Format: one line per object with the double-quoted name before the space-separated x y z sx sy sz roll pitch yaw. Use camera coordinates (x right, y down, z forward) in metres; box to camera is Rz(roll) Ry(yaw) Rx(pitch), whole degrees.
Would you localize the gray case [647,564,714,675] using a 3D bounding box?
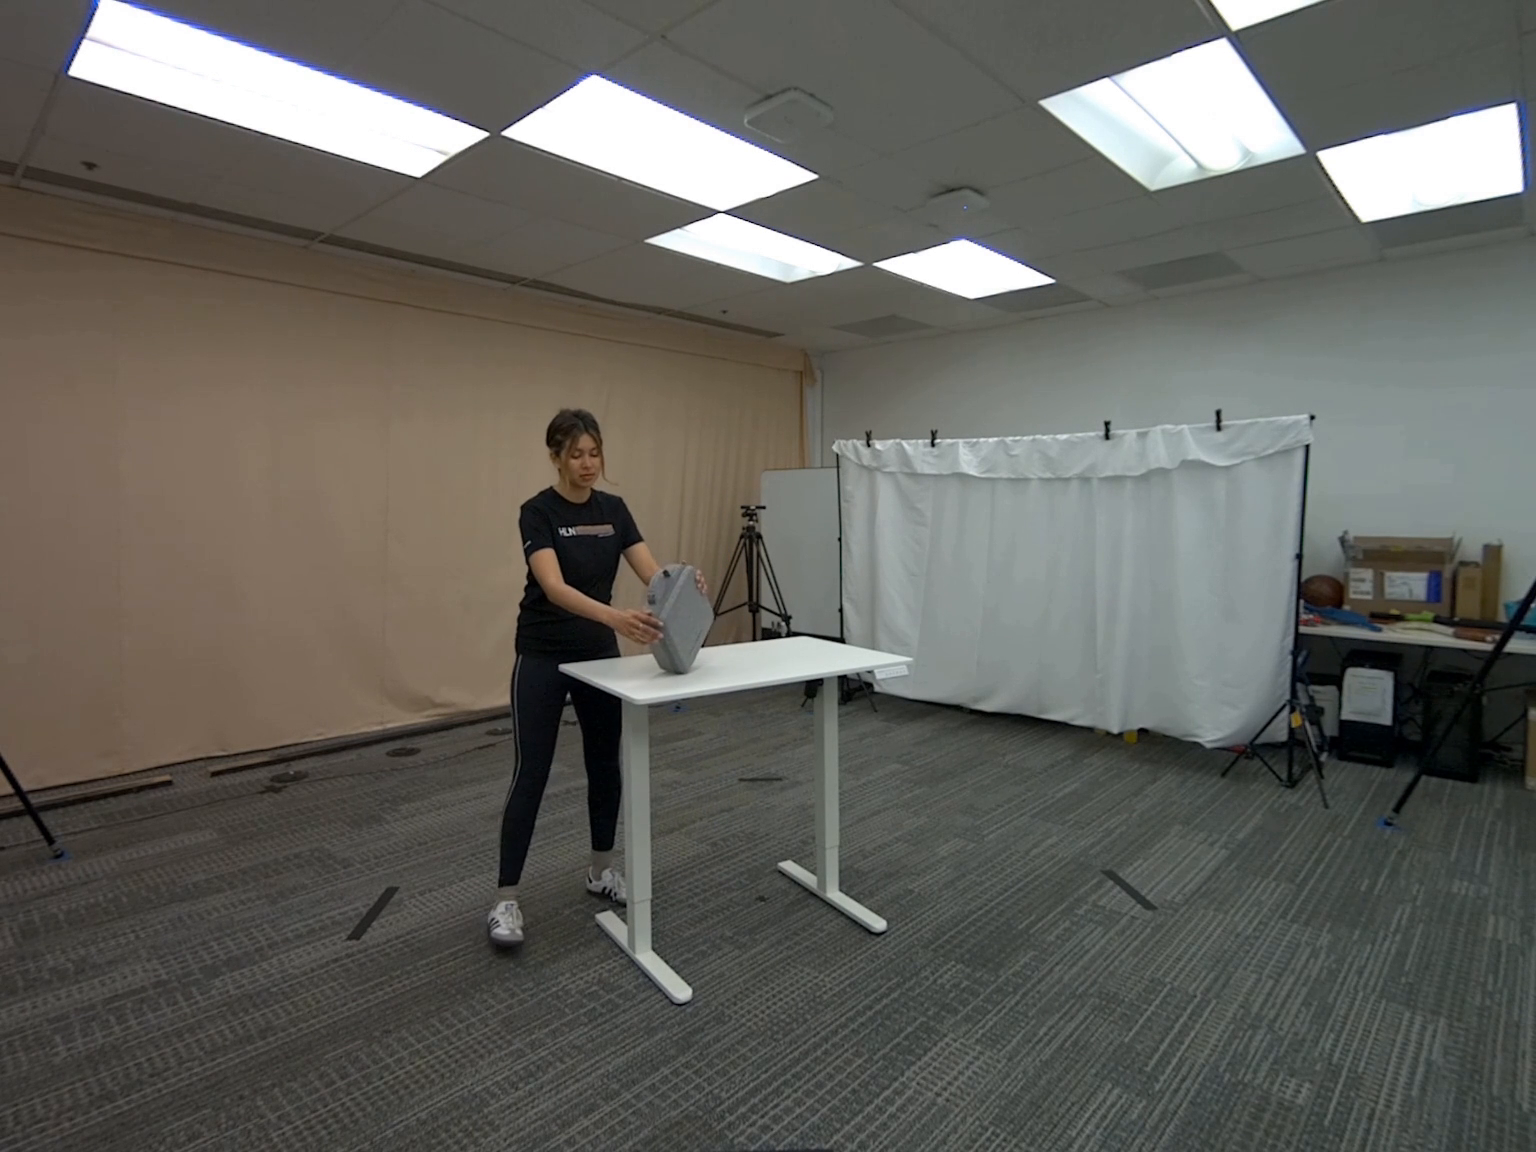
"gray case" -0.277 0.136 2.570 0.107 0.253 0.257 4 46 24
